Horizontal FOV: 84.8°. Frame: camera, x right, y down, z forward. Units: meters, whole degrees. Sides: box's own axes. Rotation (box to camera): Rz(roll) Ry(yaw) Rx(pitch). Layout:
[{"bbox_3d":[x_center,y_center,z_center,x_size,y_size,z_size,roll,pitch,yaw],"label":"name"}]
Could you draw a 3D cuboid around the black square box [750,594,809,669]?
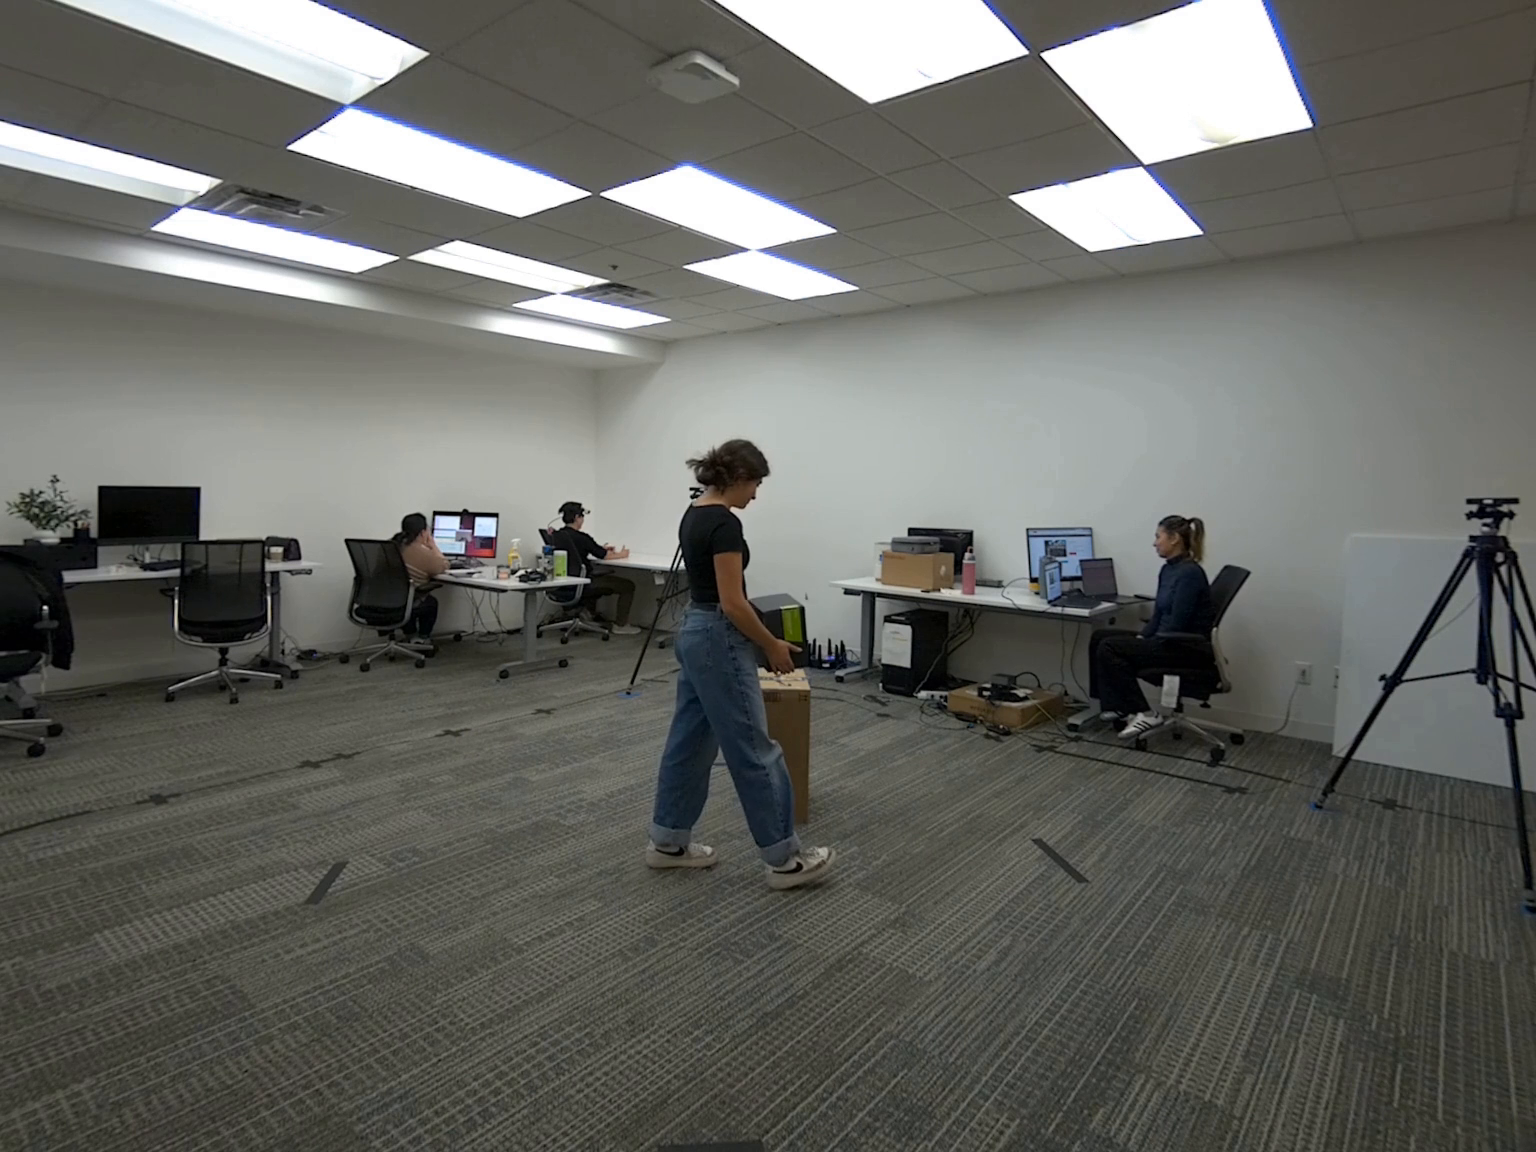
[{"bbox_3d":[0.035,0.207,3.100,0.154,0.226,0.222,-6,10,-15],"label":"black square box"}]
